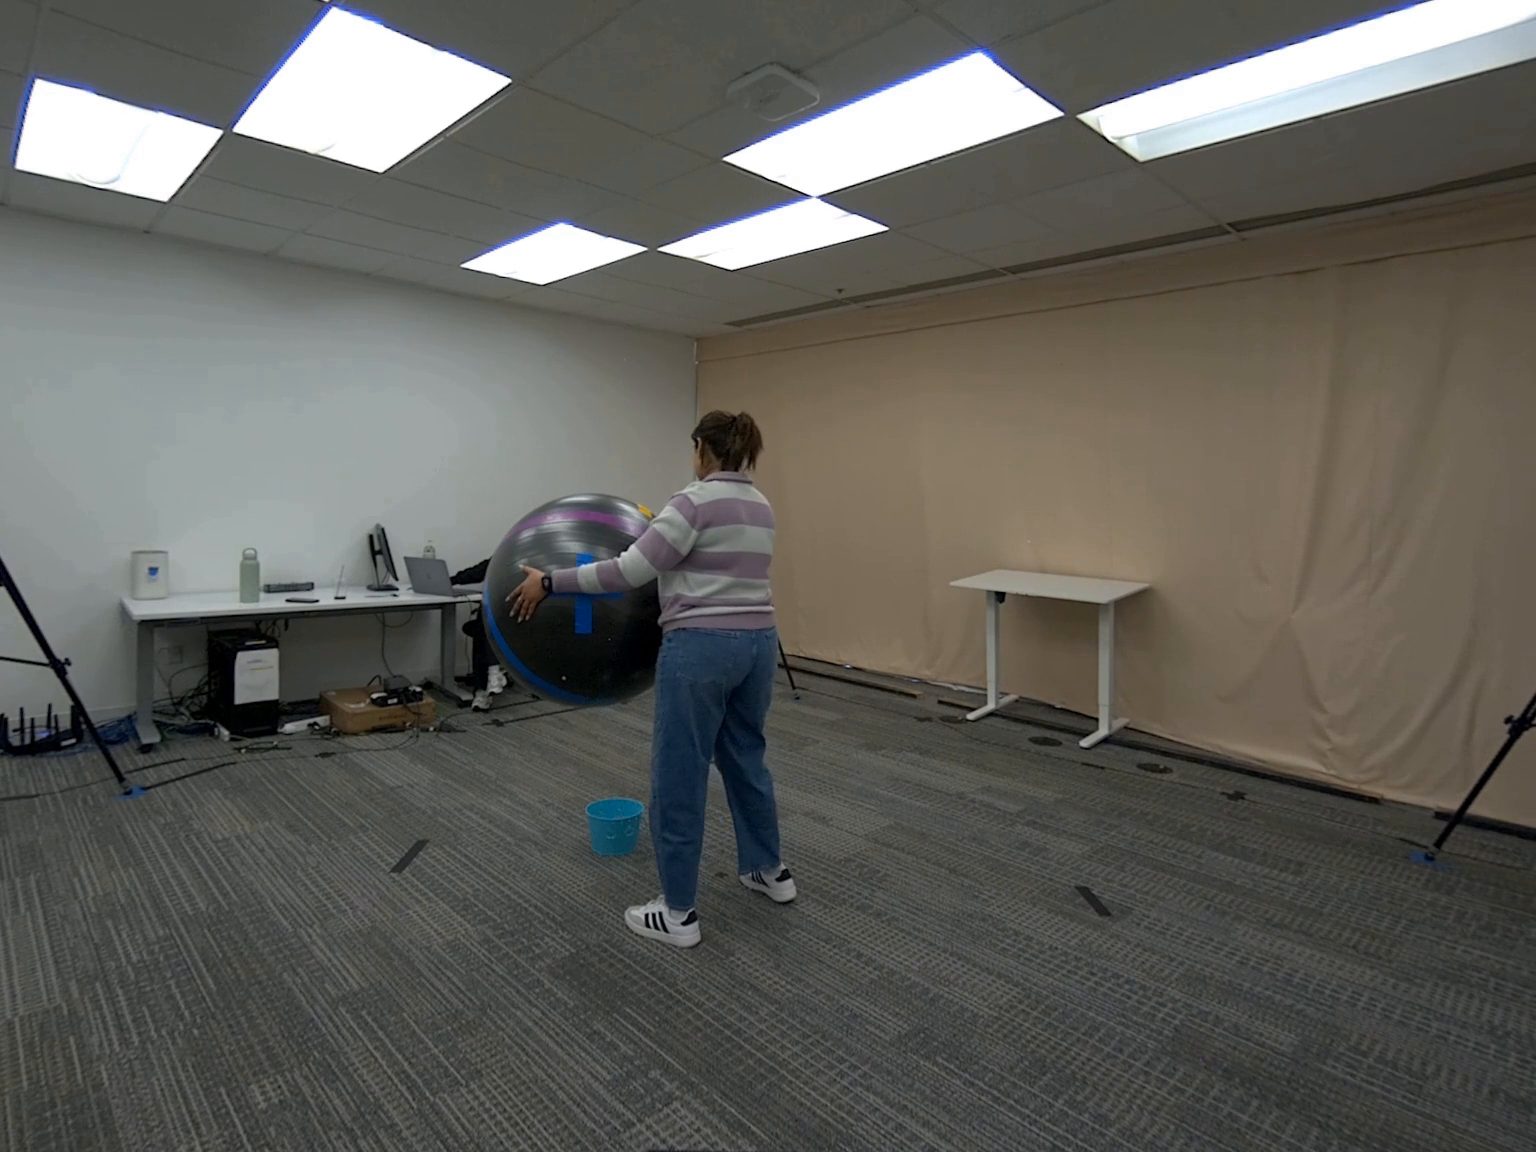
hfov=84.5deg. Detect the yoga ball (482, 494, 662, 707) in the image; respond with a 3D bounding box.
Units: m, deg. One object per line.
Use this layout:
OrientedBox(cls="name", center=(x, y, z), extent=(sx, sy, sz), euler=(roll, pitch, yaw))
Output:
OrientedBox(cls="yoga ball", center=(-0.640, 0.092, 3.026), extent=(0.757, 0.756, 0.761), euler=(1, 4, -1))
